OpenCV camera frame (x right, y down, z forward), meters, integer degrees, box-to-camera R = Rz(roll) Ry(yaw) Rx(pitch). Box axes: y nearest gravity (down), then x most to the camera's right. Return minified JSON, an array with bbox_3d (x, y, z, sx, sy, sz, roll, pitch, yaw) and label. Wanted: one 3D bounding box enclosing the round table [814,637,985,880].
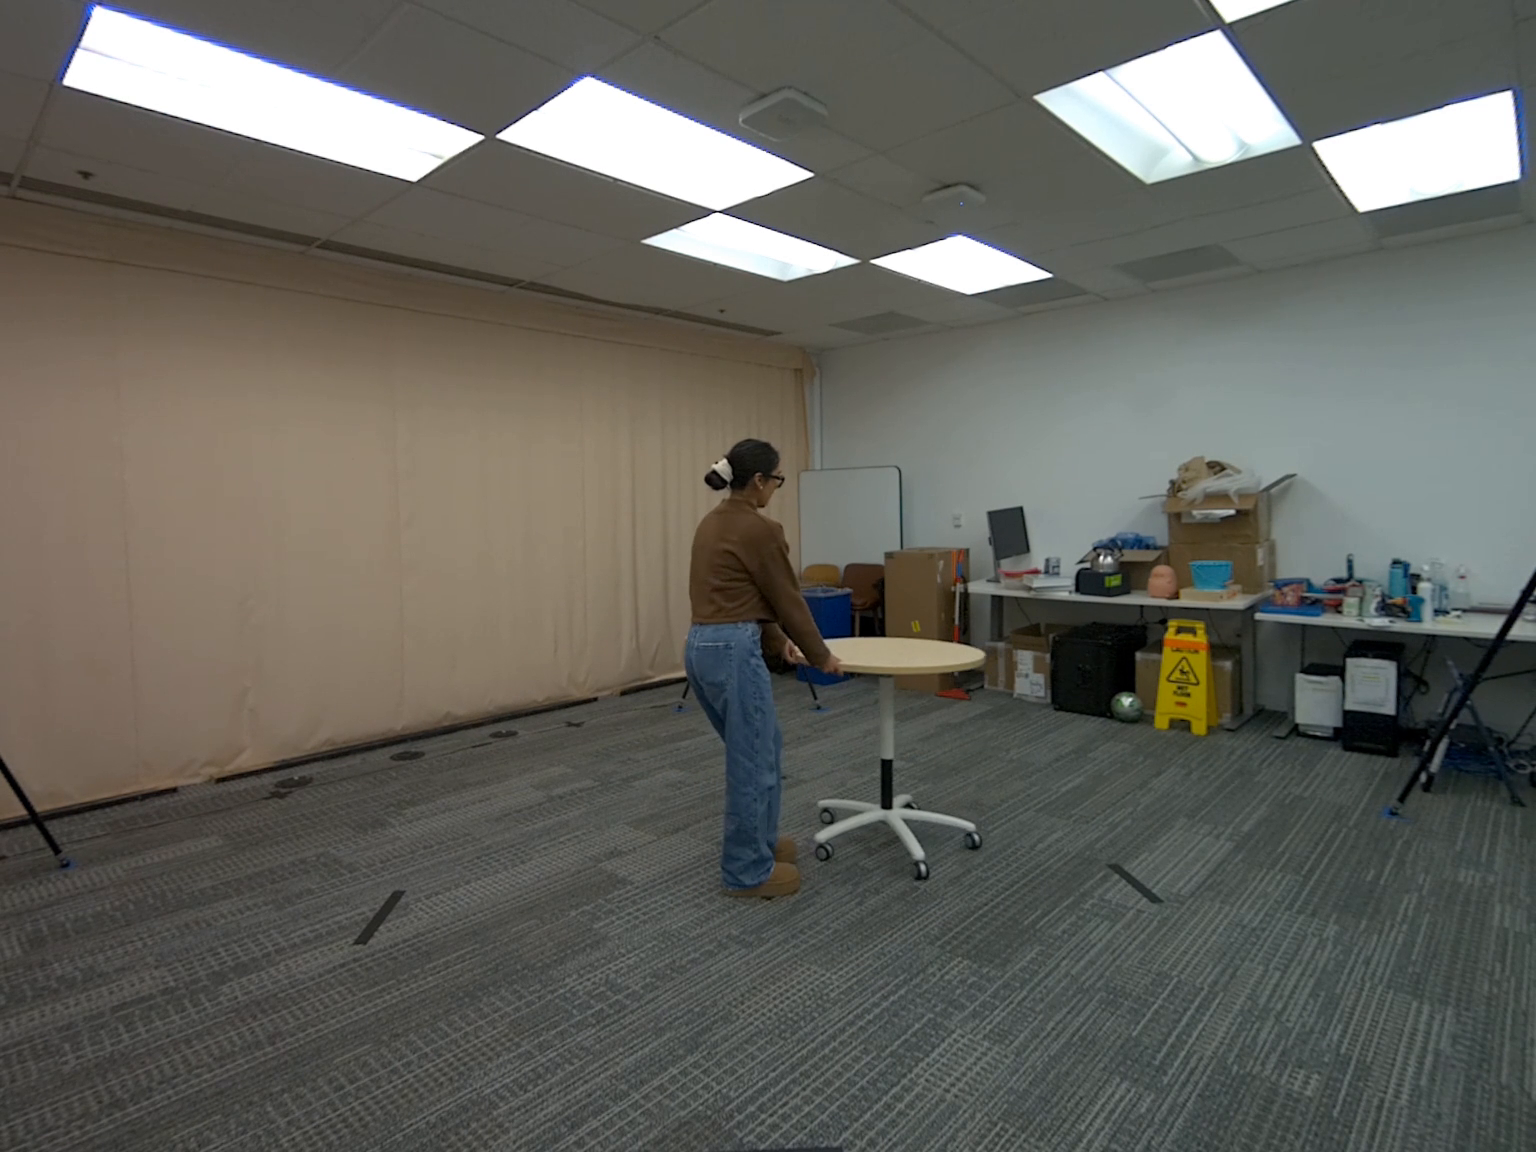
[{"bbox_3d":[0.478,0.698,3.414,0.784,0.785,0.787,-1,3,-2],"label":"round table"}]
